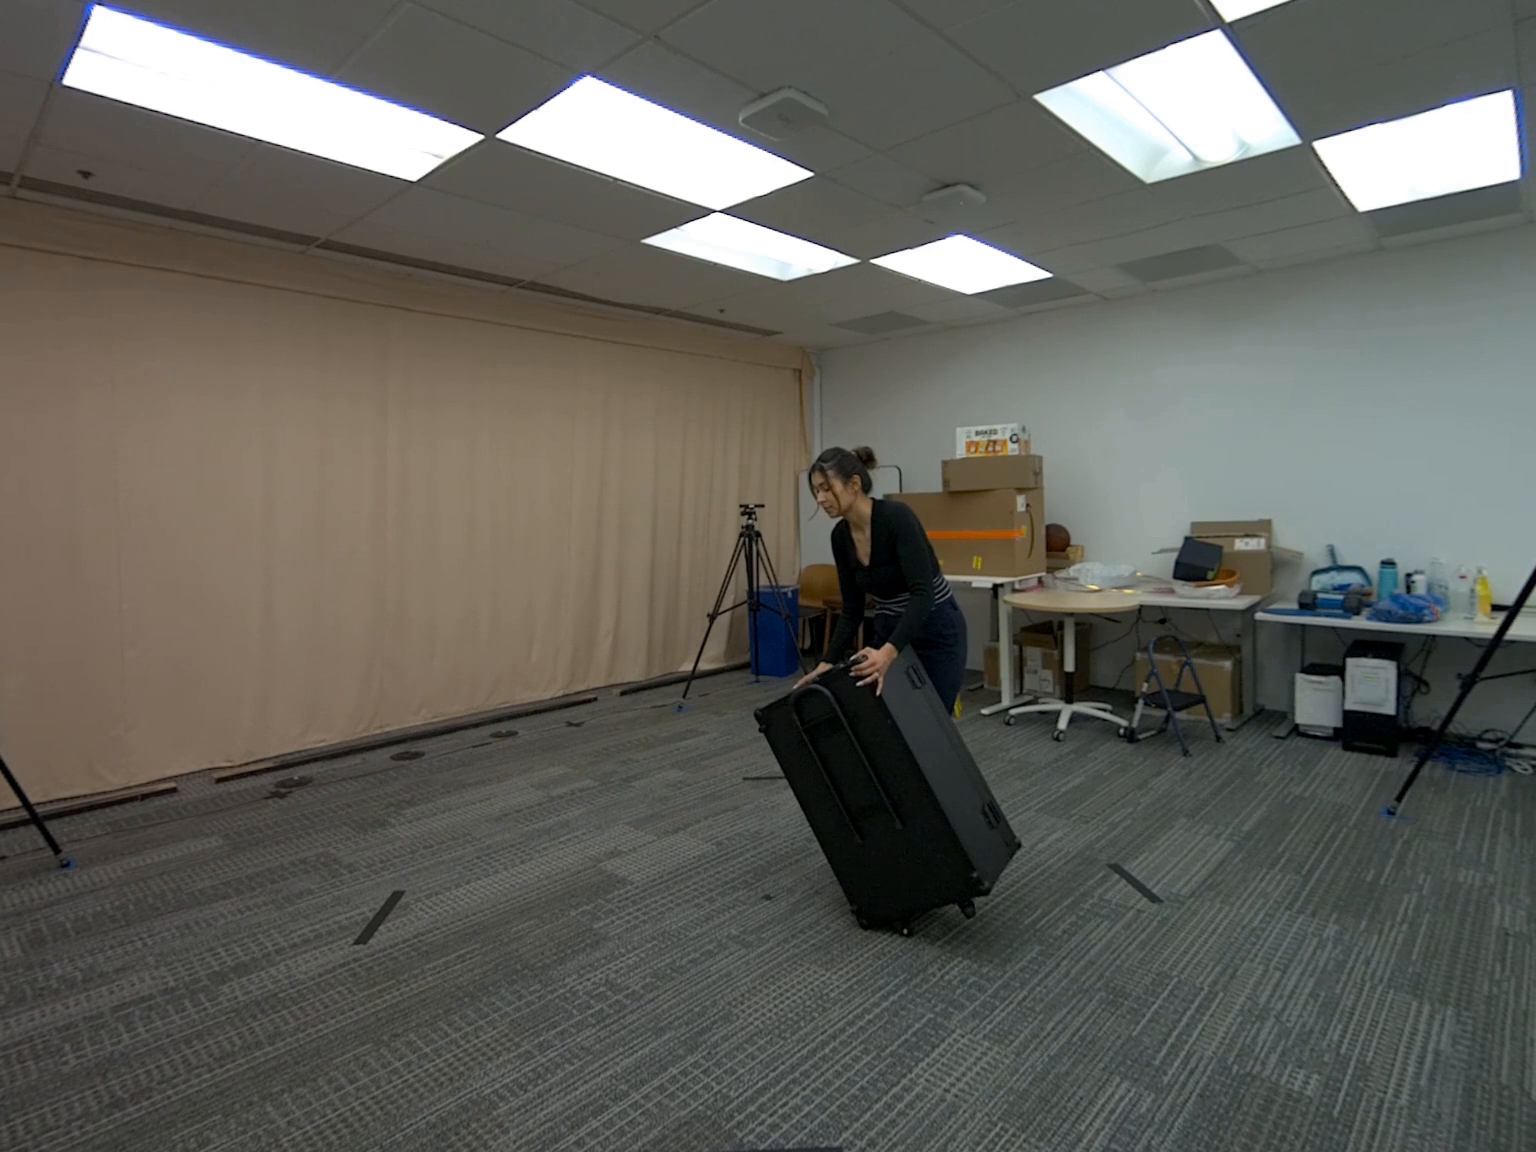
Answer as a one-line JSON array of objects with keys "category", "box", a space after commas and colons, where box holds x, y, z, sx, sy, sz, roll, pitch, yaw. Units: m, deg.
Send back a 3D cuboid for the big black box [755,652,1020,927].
[{"category": "big black box", "box": [0.406, 0.705, 2.811, 0.529, 0.870, 0.387, -34, -10, 34]}]
